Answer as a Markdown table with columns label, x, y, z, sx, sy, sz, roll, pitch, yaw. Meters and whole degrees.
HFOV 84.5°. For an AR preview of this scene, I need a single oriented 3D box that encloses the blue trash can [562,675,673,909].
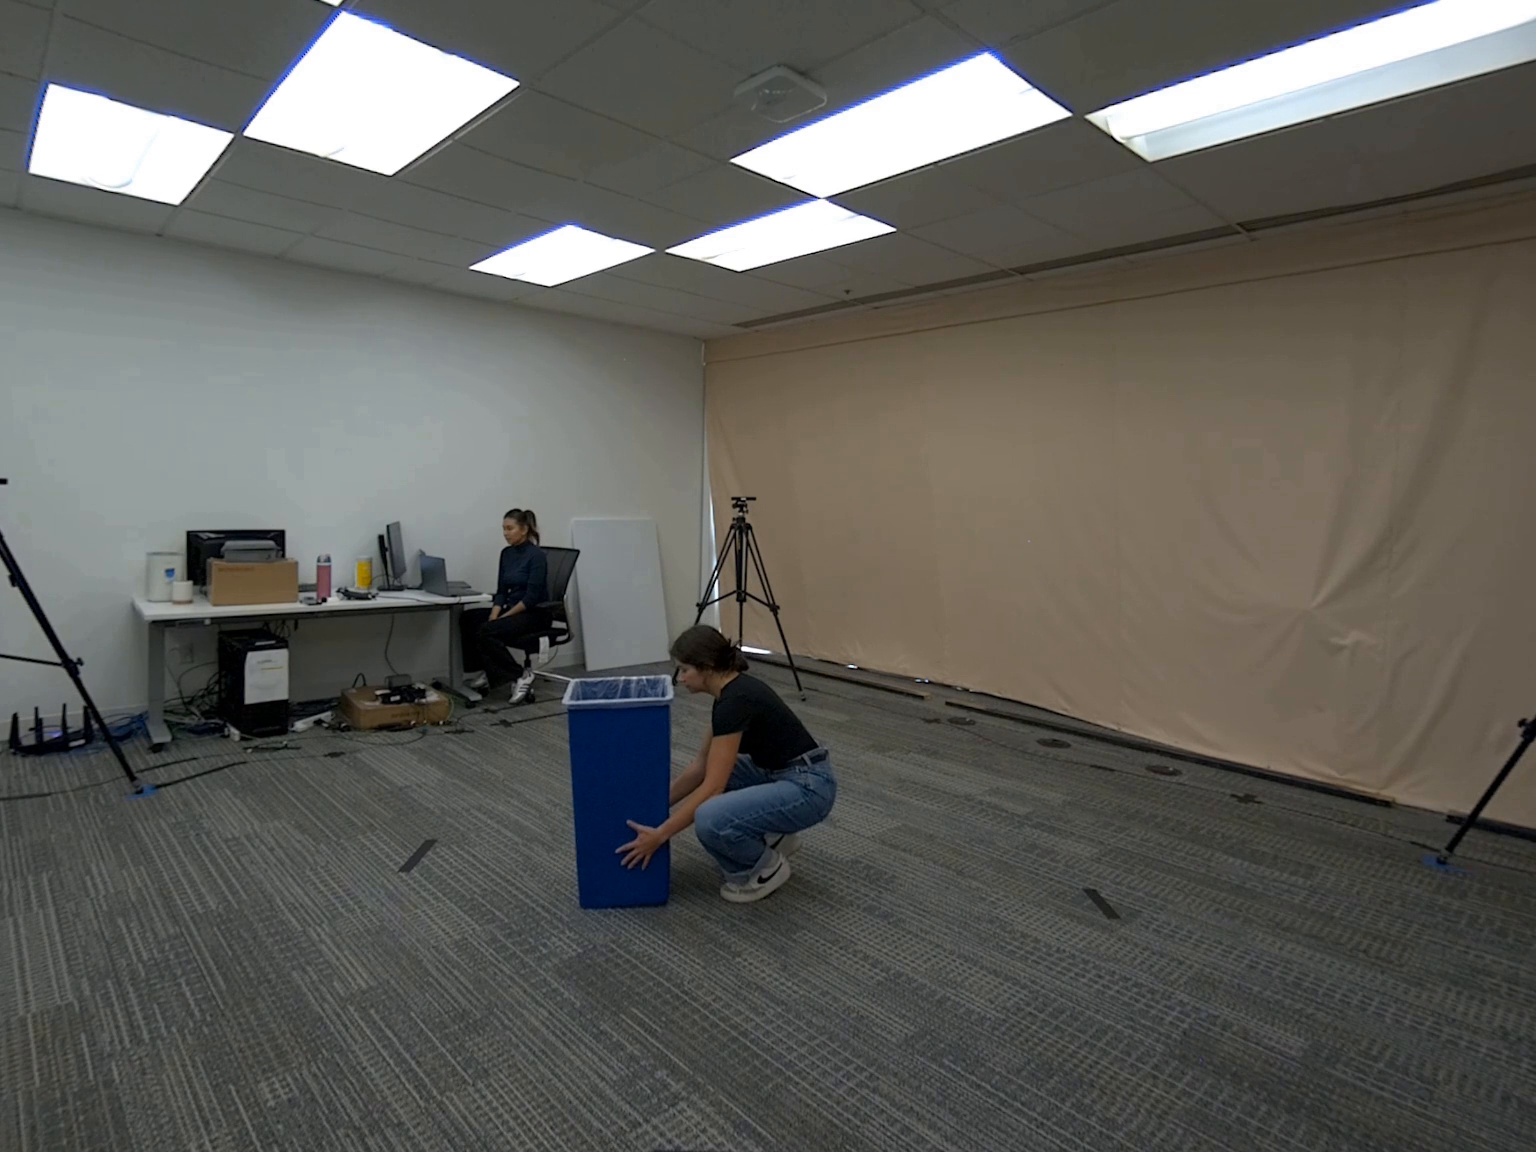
| label | x | y | z | sx | sy | sz | roll | pitch | yaw |
| --- | --- | --- | --- | --- | --- | --- | --- | --- | --- |
| blue trash can | -0.517 | 0.746 | 2.966 | 0.376 | 0.712 | 0.377 | -2 | 3 | -8 |
